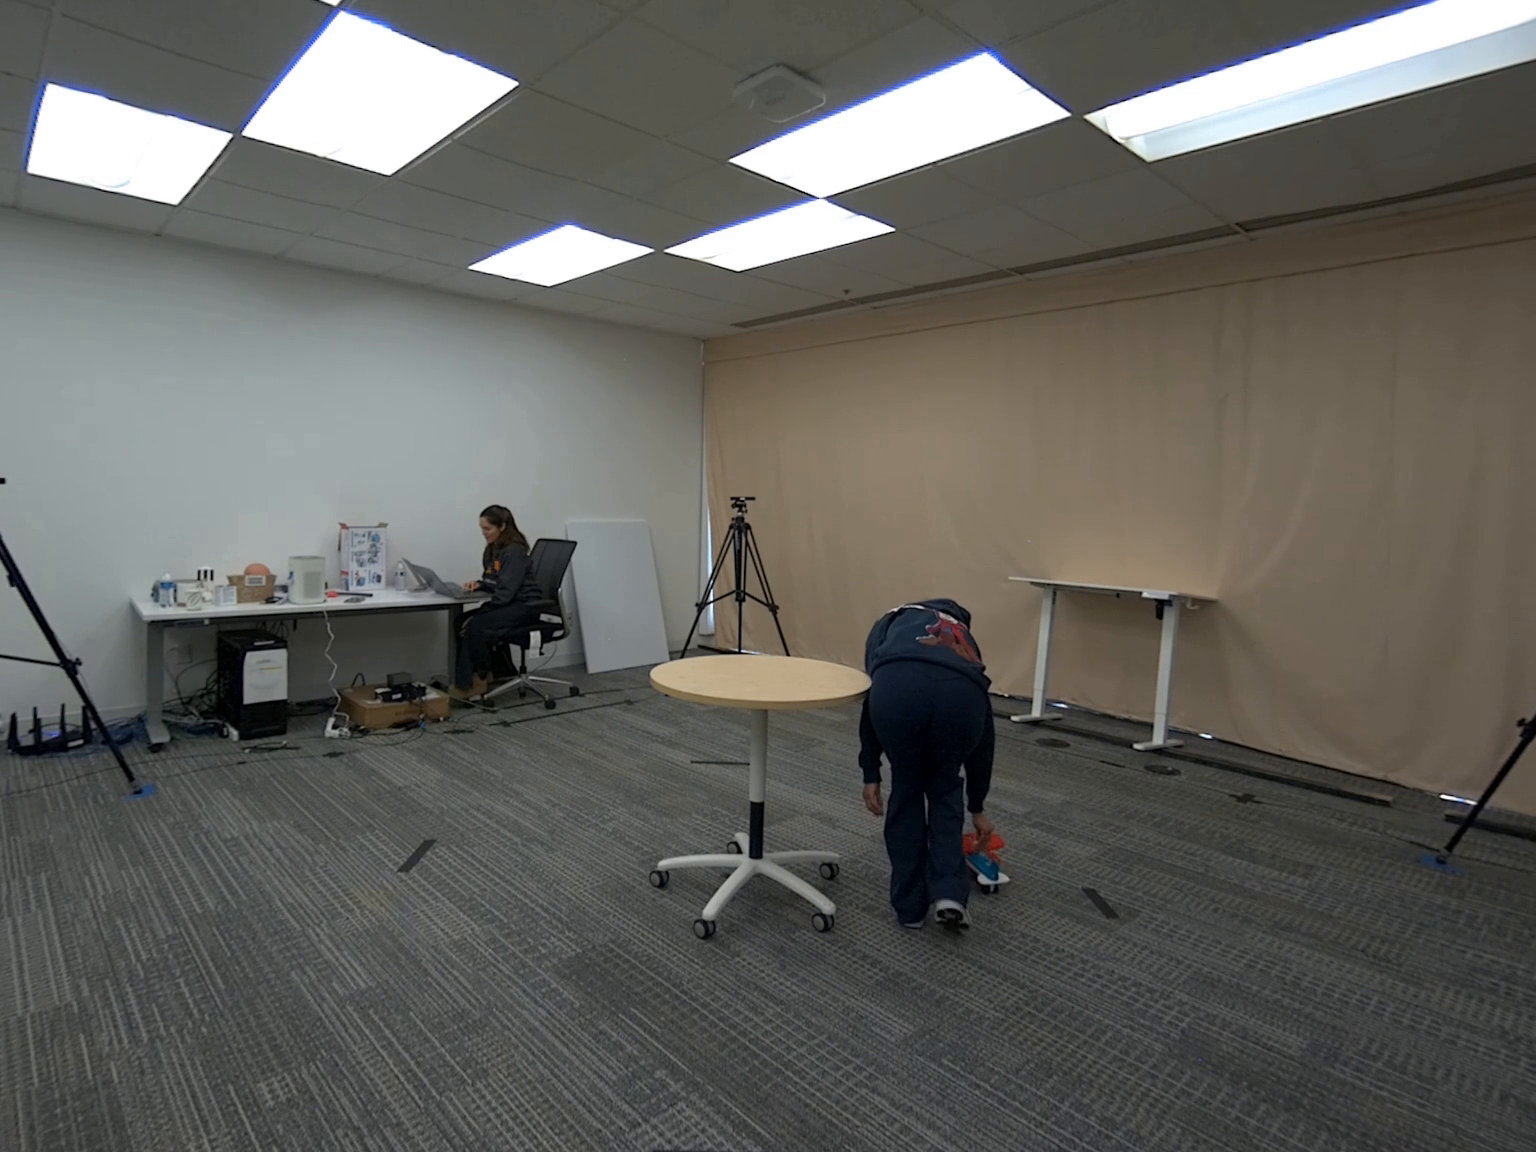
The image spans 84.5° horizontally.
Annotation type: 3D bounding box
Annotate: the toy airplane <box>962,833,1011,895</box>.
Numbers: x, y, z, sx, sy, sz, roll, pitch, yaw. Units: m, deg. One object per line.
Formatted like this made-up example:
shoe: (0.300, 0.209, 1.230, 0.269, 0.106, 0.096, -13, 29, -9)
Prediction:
toy airplane: (0.781, 1.059, 3.118, 0.266, 0.156, 0.245, 7, 6, 44)
